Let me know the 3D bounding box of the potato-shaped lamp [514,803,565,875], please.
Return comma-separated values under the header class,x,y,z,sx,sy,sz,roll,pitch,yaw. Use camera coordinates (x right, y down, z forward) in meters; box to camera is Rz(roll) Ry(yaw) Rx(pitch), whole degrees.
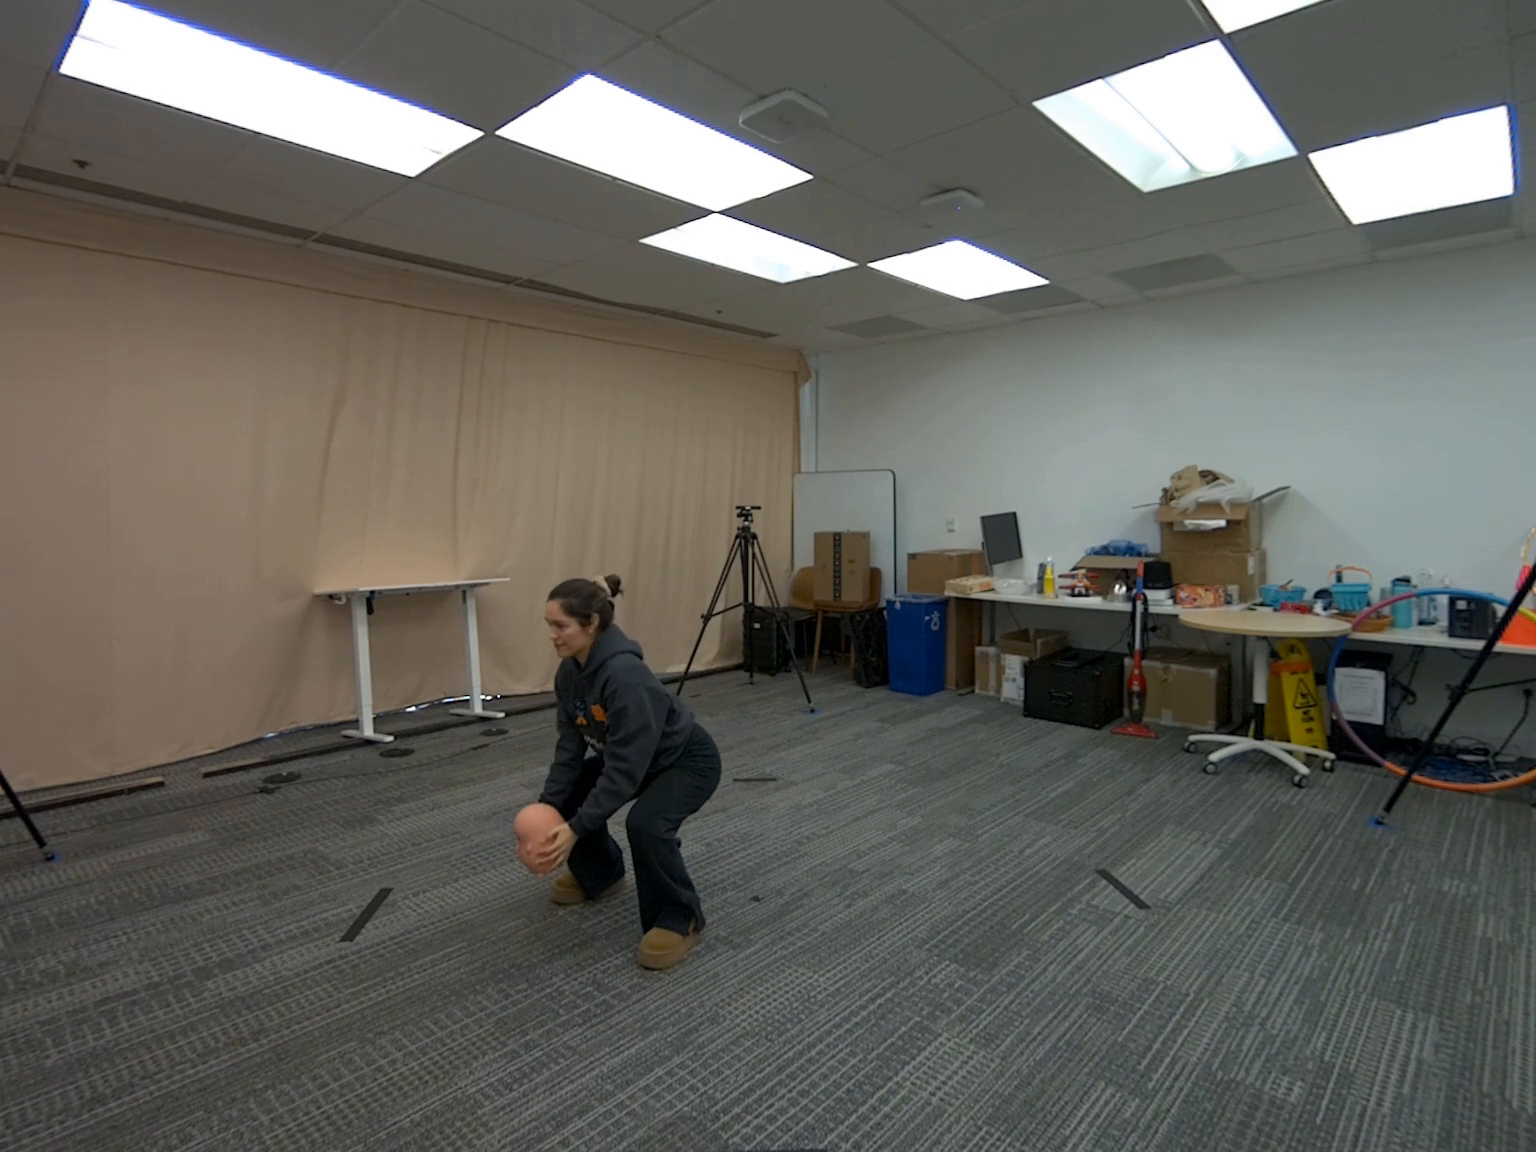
class,x,y,z,sx,sy,sz,roll,pitch,yaw
potato-shaped lamp,-0.698,0.797,2.626,0.170,0.195,0.169,-33,14,-19
